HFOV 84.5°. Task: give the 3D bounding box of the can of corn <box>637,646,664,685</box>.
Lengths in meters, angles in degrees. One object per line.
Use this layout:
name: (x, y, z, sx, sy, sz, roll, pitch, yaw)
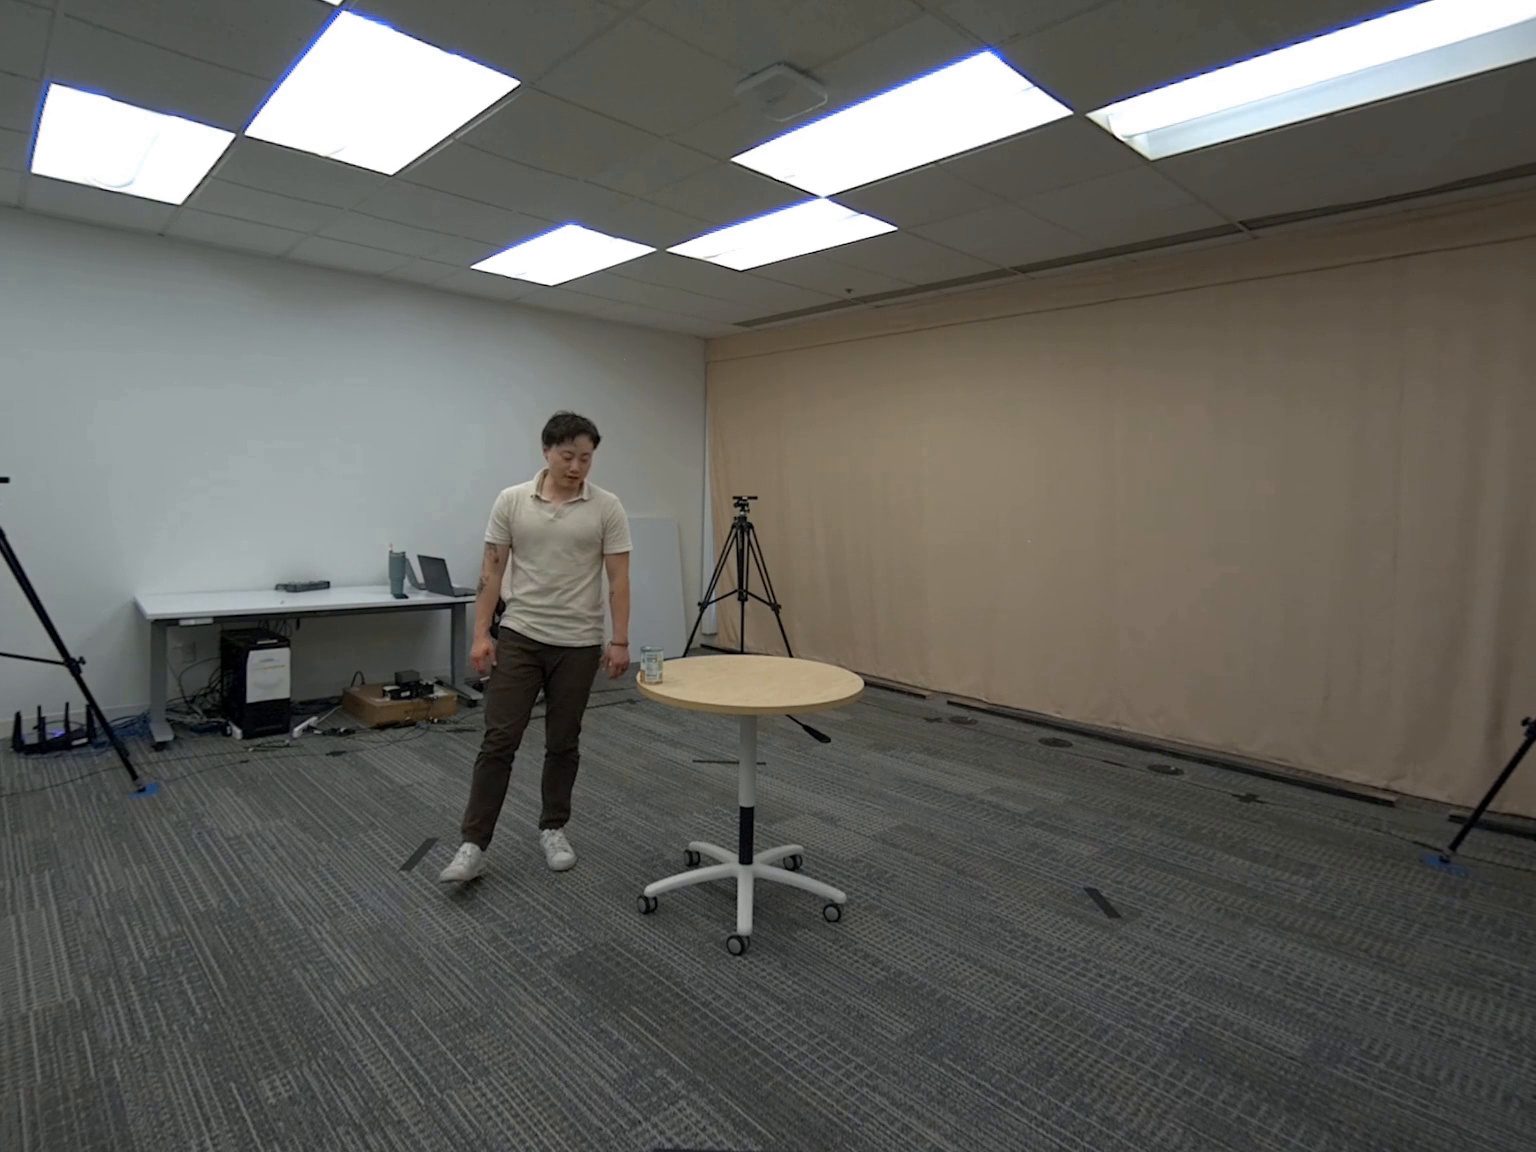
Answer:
can of corn: (-0.387, 0.293, 2.735, 0.074, 0.110, 0.074, 0, 5, -1)
